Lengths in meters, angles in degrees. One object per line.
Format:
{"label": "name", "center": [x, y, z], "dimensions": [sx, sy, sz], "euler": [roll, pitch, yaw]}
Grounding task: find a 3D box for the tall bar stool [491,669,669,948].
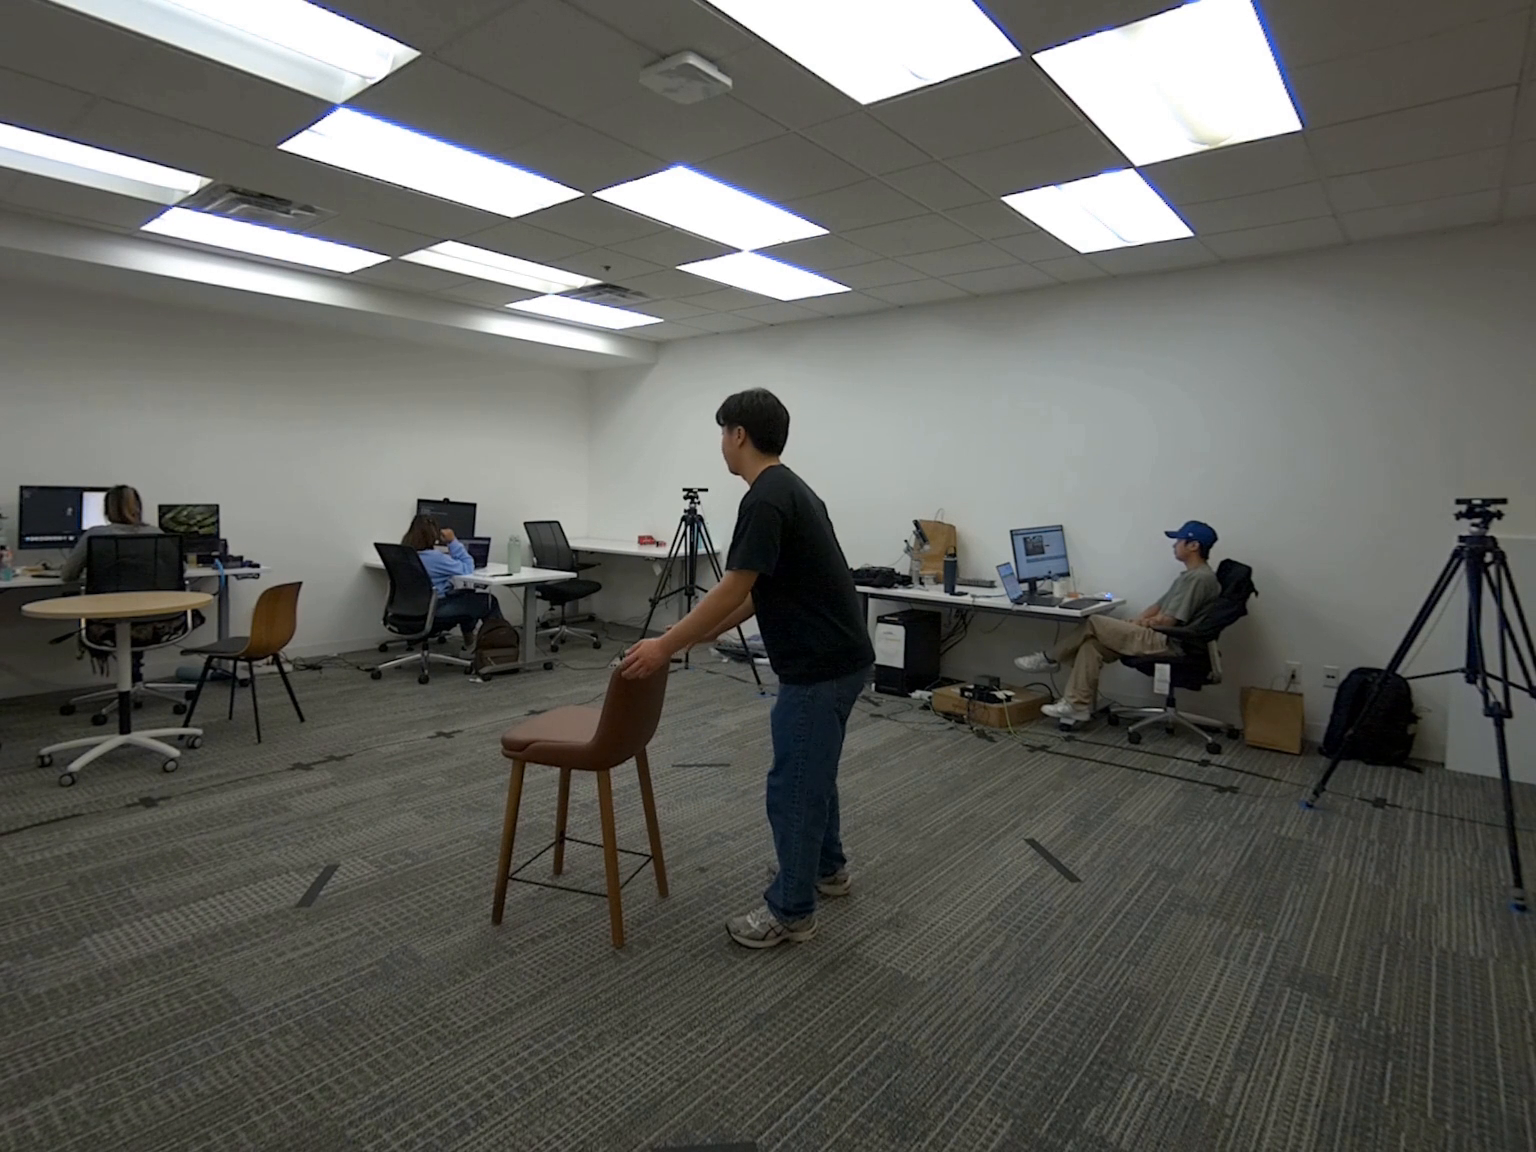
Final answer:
{"label": "tall bar stool", "center": [-0.599, 0.657, 2.782], "dimensions": [0.478, 0.887, 0.448], "euler": [4, 4, 19]}
